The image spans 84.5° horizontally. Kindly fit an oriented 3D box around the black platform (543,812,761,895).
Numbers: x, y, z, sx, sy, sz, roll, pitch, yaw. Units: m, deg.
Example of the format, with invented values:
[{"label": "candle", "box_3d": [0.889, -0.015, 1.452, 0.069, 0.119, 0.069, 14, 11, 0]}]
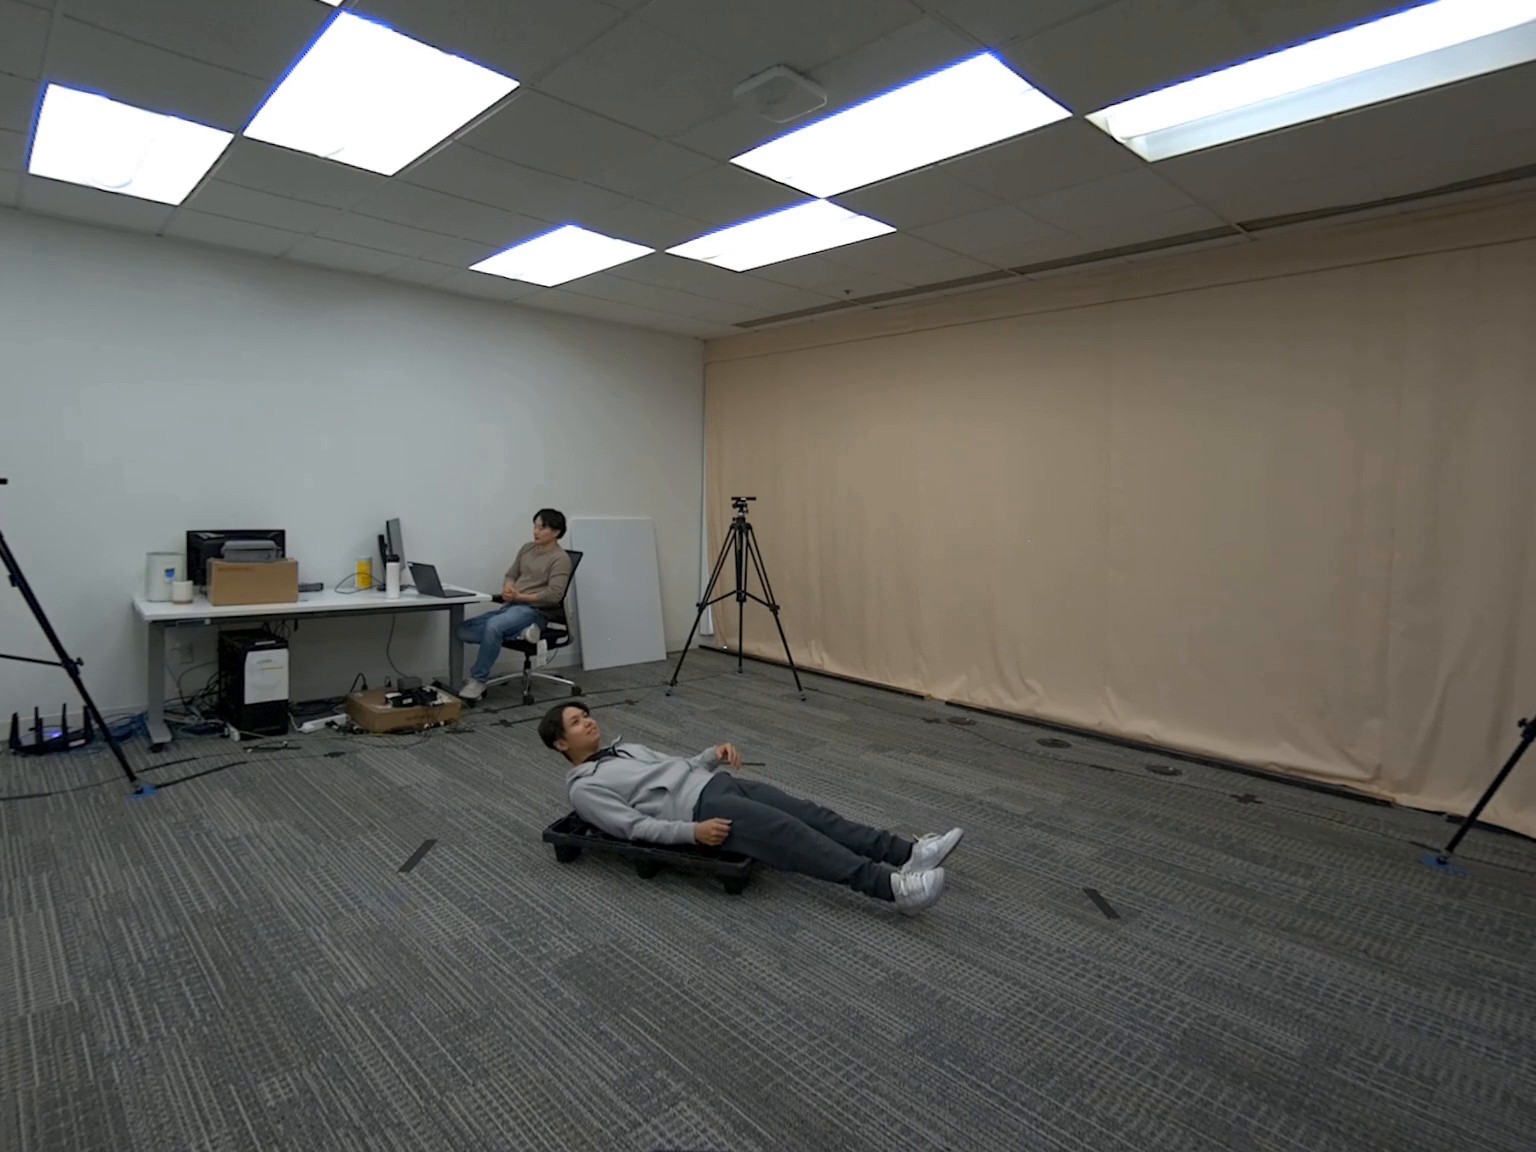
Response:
[{"label": "black platform", "box_3d": [-0.381, 1.004, 3.283, 0.818, 0.143, 0.598, 2, 7, 19]}]
